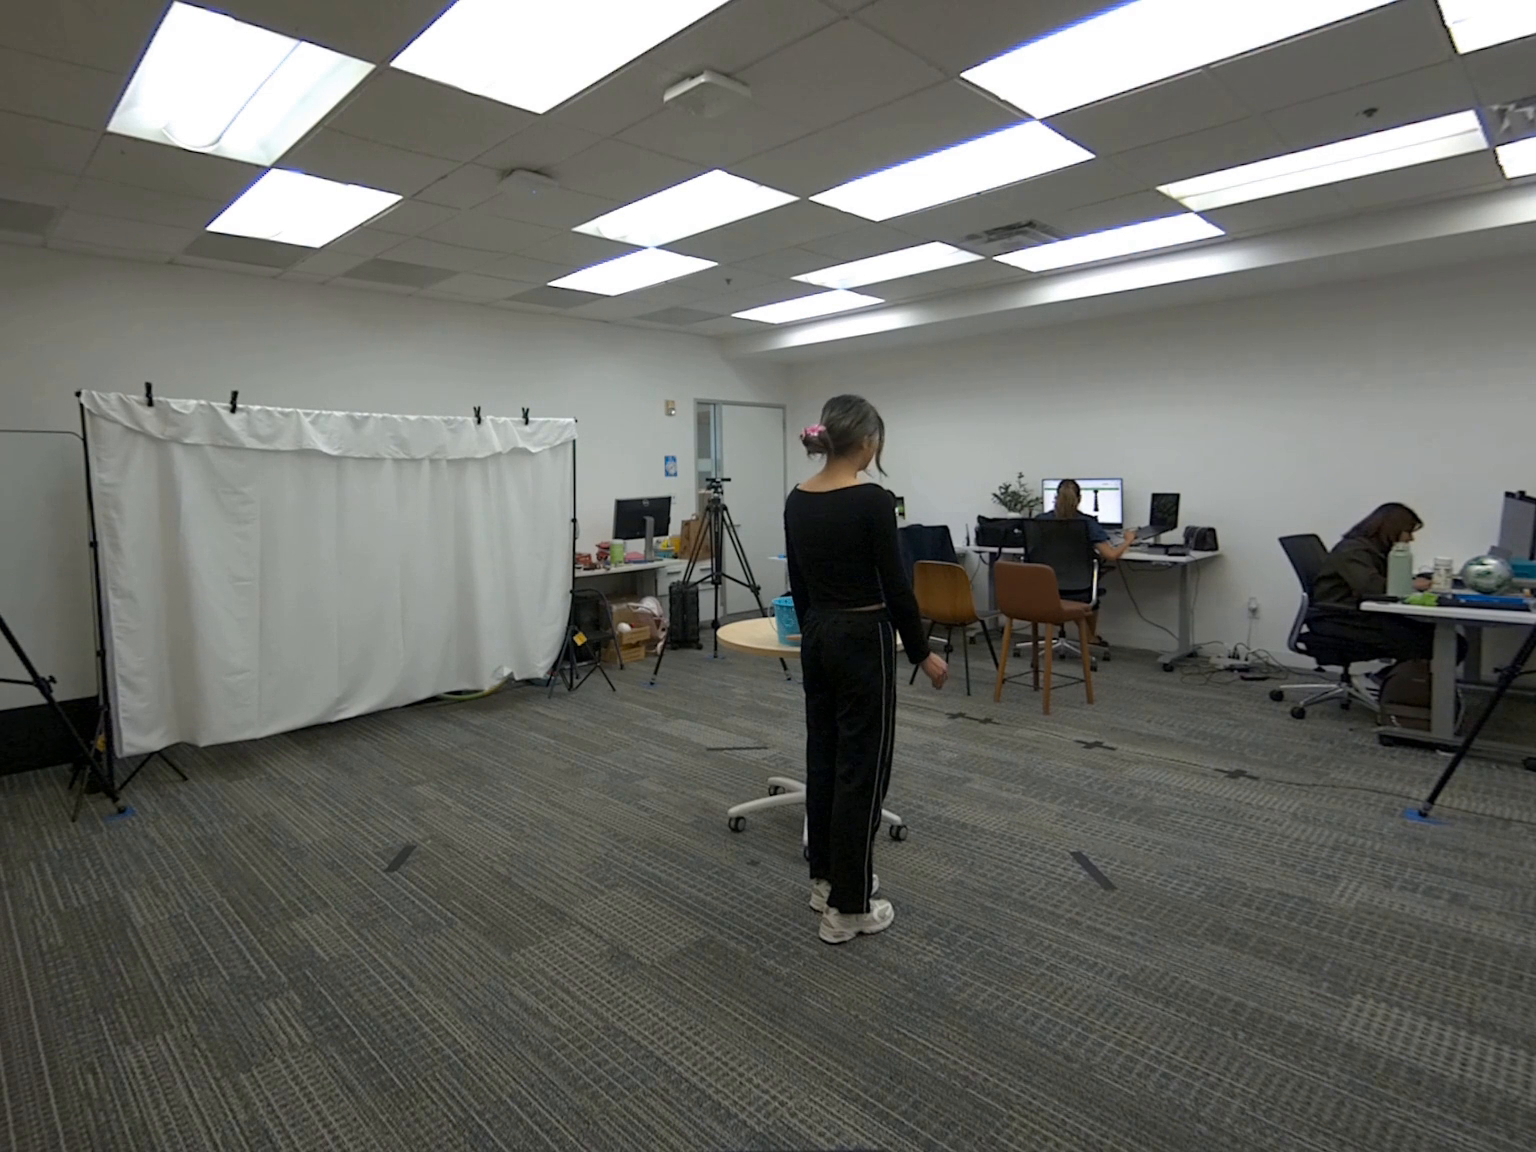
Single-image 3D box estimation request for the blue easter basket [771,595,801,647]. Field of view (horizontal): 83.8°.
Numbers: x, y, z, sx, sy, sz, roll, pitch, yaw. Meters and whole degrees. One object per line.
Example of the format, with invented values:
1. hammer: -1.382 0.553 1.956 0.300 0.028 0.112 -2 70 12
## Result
1. blue easter basket: 0.131 0.170 3.180 0.243 0.155 0.245 1 5 -2
